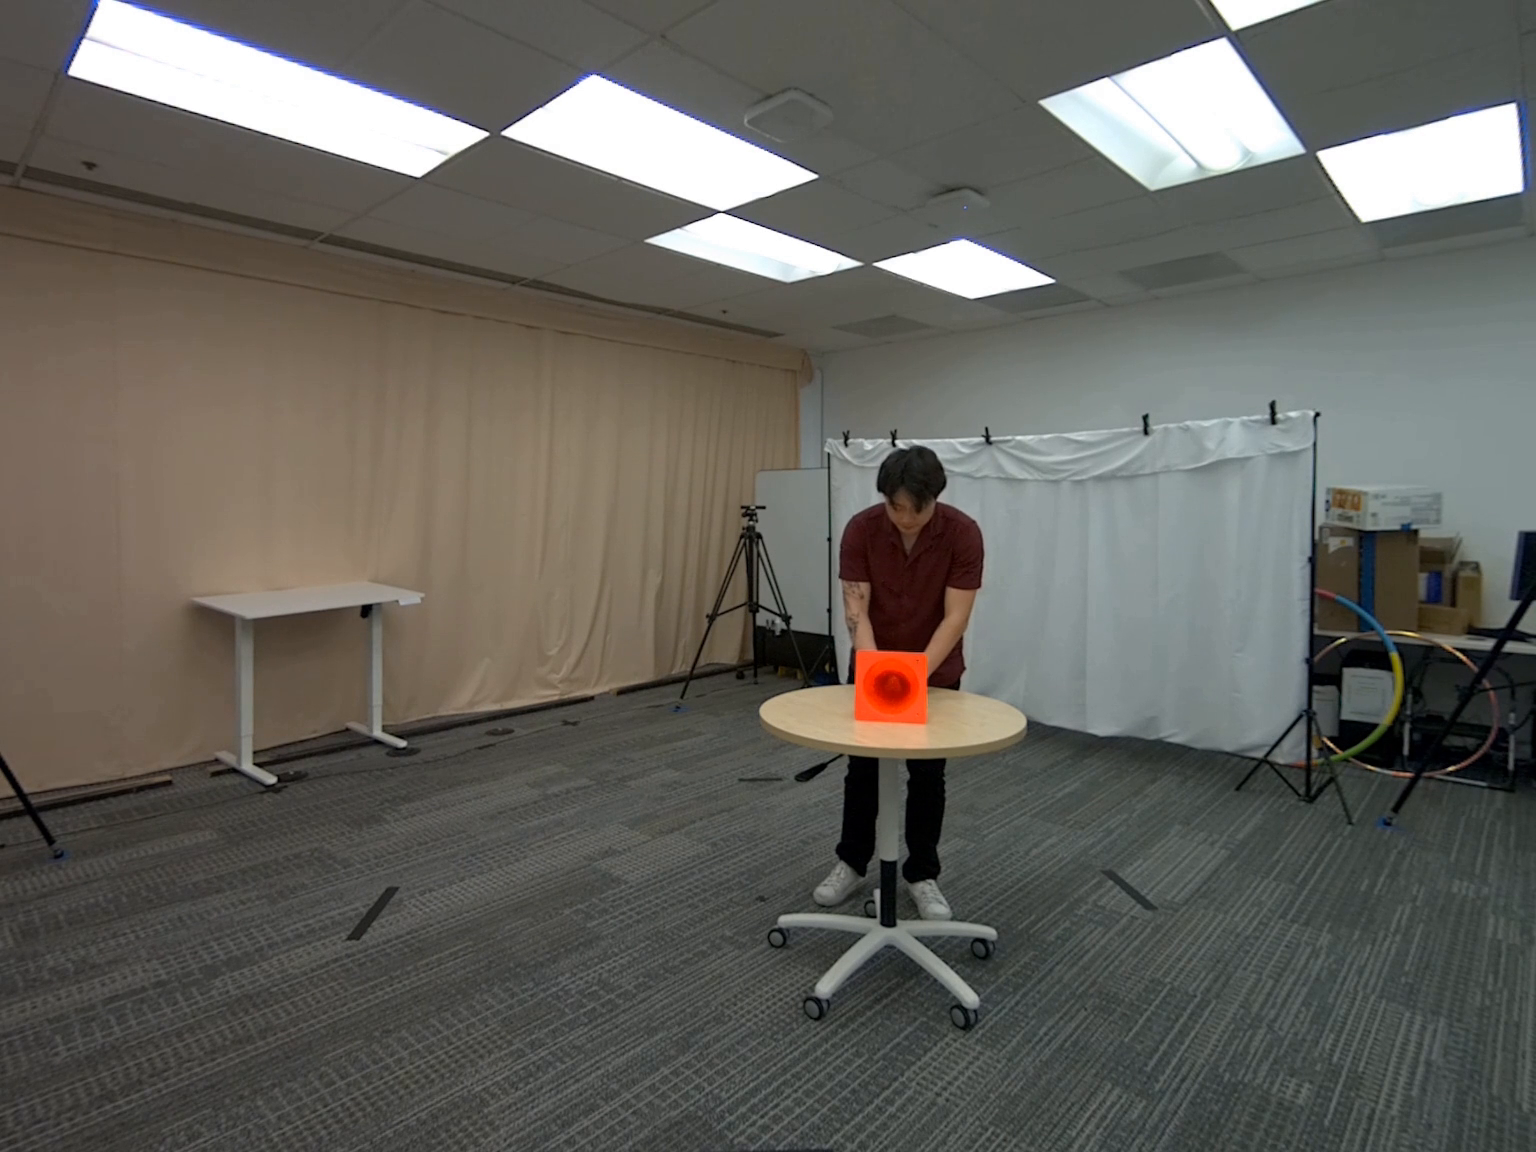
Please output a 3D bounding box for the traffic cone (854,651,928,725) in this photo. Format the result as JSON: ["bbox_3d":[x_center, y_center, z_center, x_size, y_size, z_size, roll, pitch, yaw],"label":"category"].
[{"bbox_3d":[0.383,0.344,2.561,0.205,0.206,0.379,6,-8,5],"label":"traffic cone"}]
